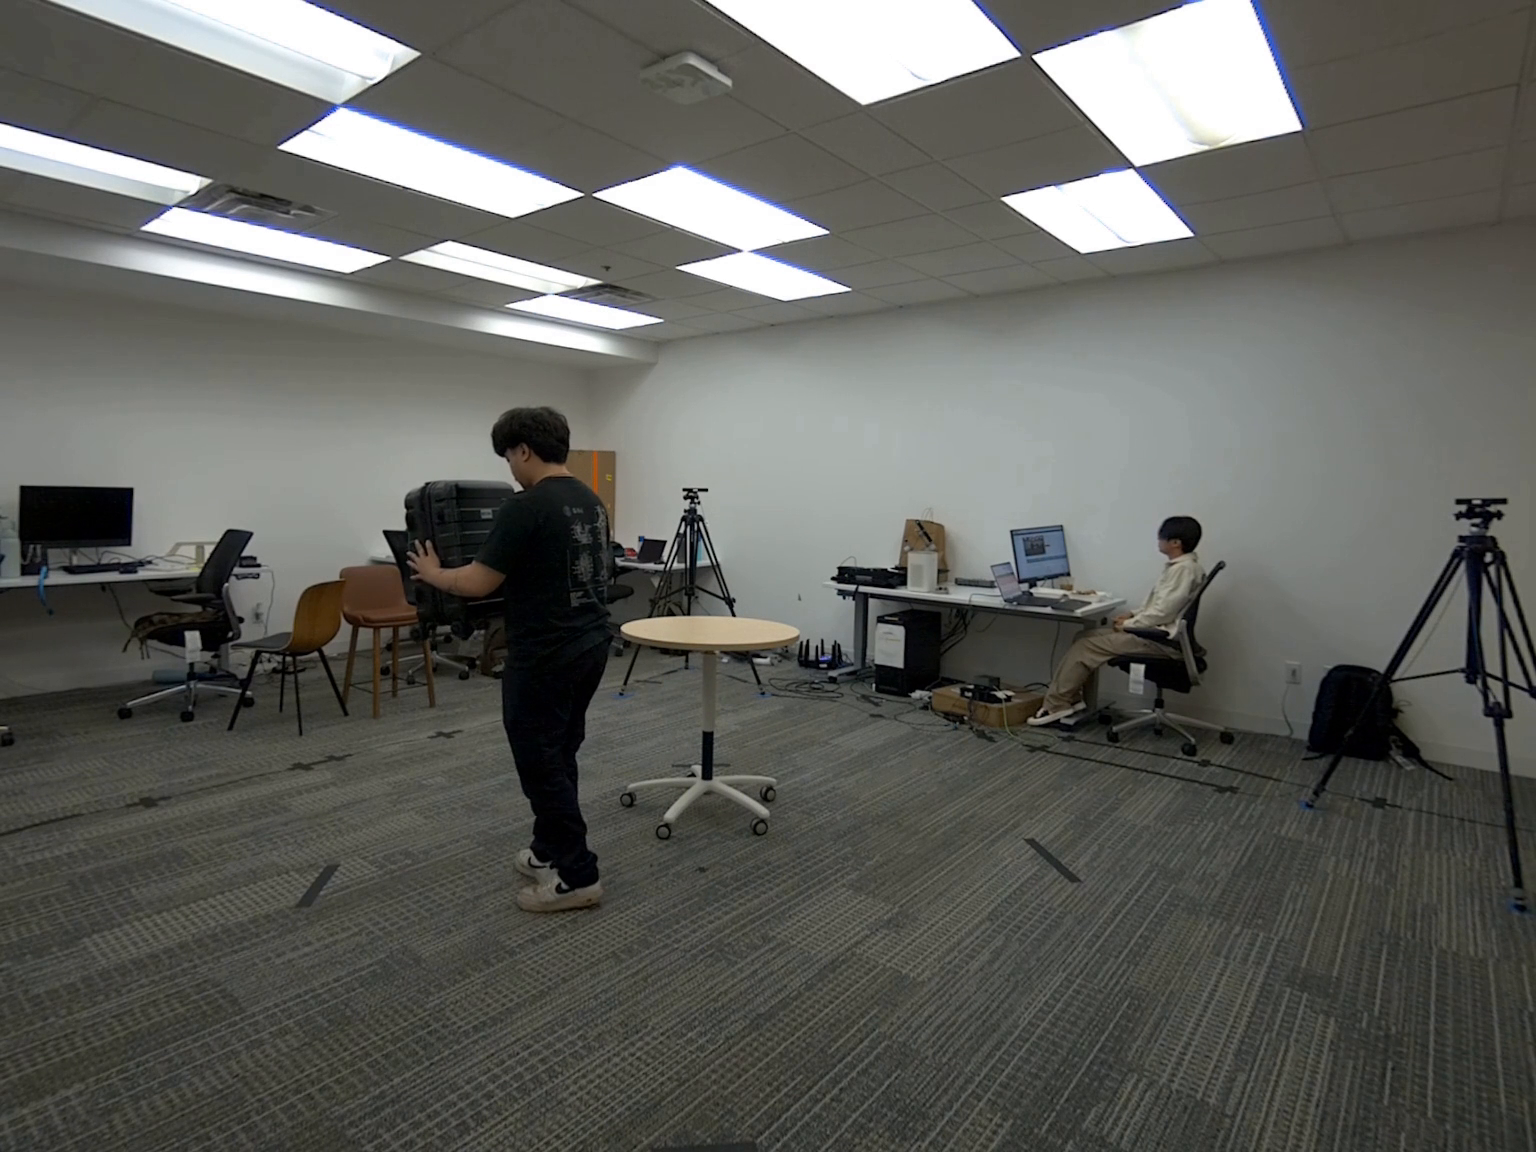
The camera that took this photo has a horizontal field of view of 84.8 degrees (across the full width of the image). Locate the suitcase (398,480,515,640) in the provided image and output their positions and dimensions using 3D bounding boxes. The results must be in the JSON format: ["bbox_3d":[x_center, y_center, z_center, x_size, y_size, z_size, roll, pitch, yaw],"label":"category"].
[{"bbox_3d":[-1.089,-0.068,3.043,0.254,0.550,0.366,-7,-1,30],"label":"suitcase"}]
